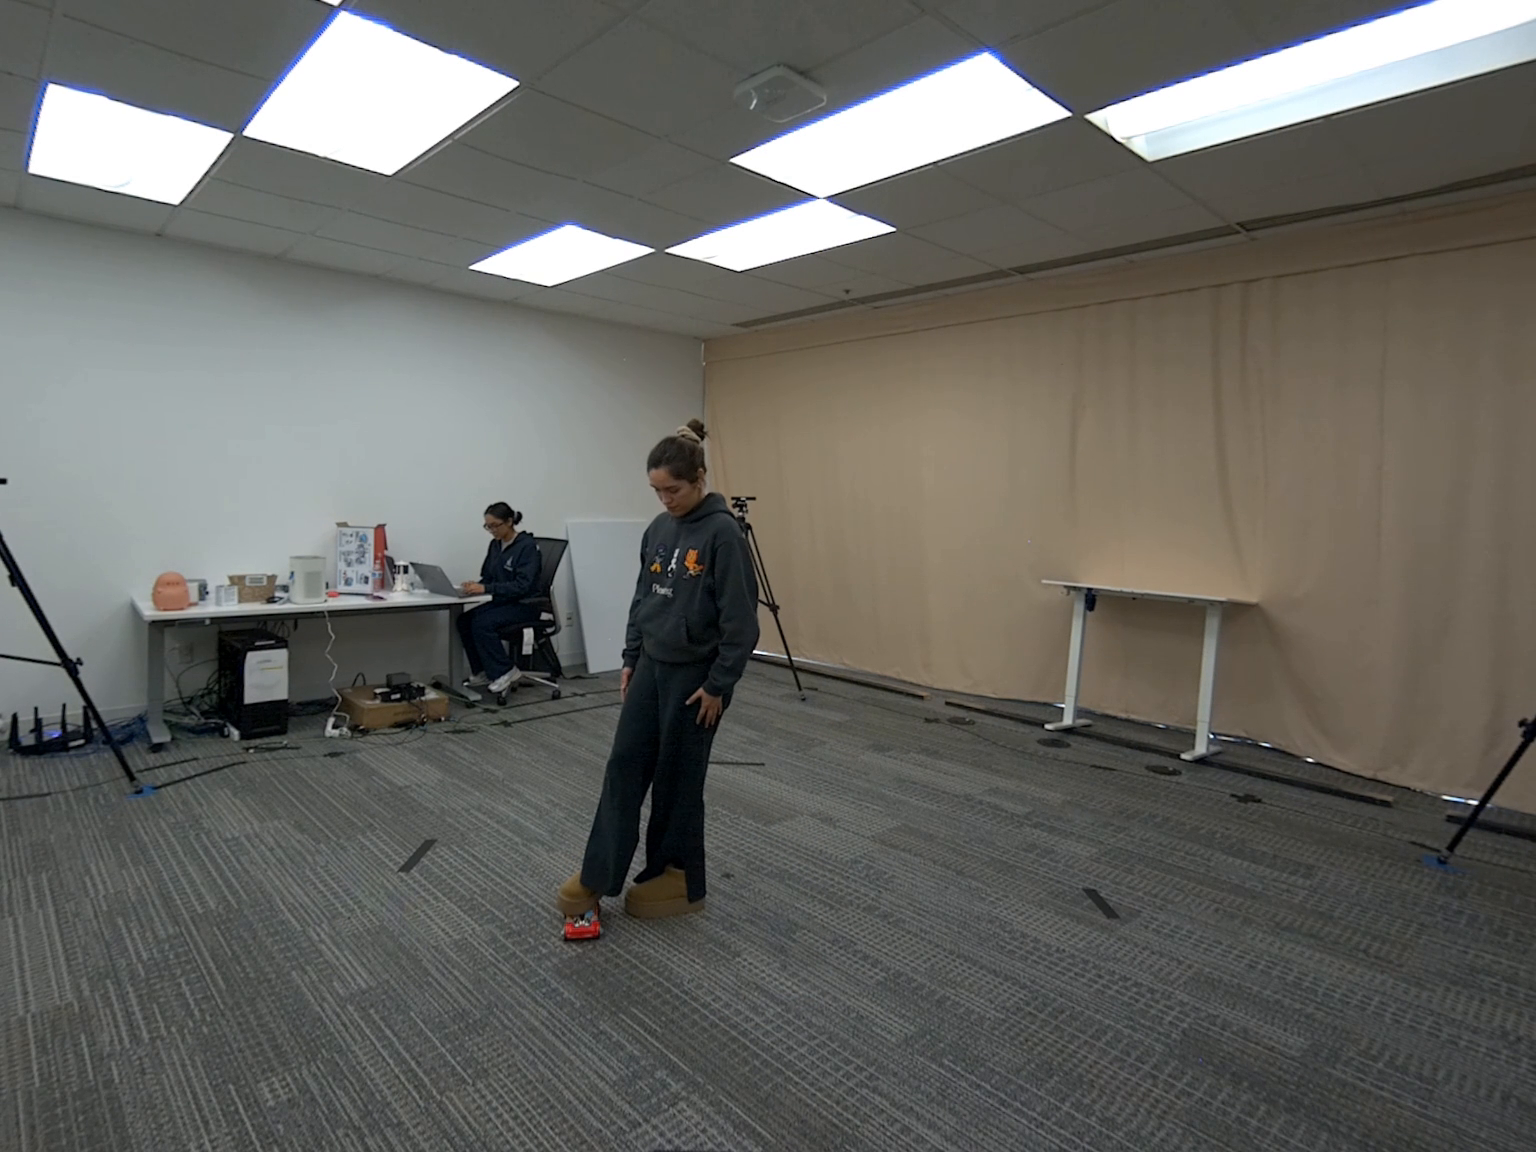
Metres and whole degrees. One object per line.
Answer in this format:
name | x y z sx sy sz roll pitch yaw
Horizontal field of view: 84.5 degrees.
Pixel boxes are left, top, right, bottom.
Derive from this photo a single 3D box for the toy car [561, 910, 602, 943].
toy car | -0.610 1.101 2.736 0.129 0.082 0.259 -1 16 -11
